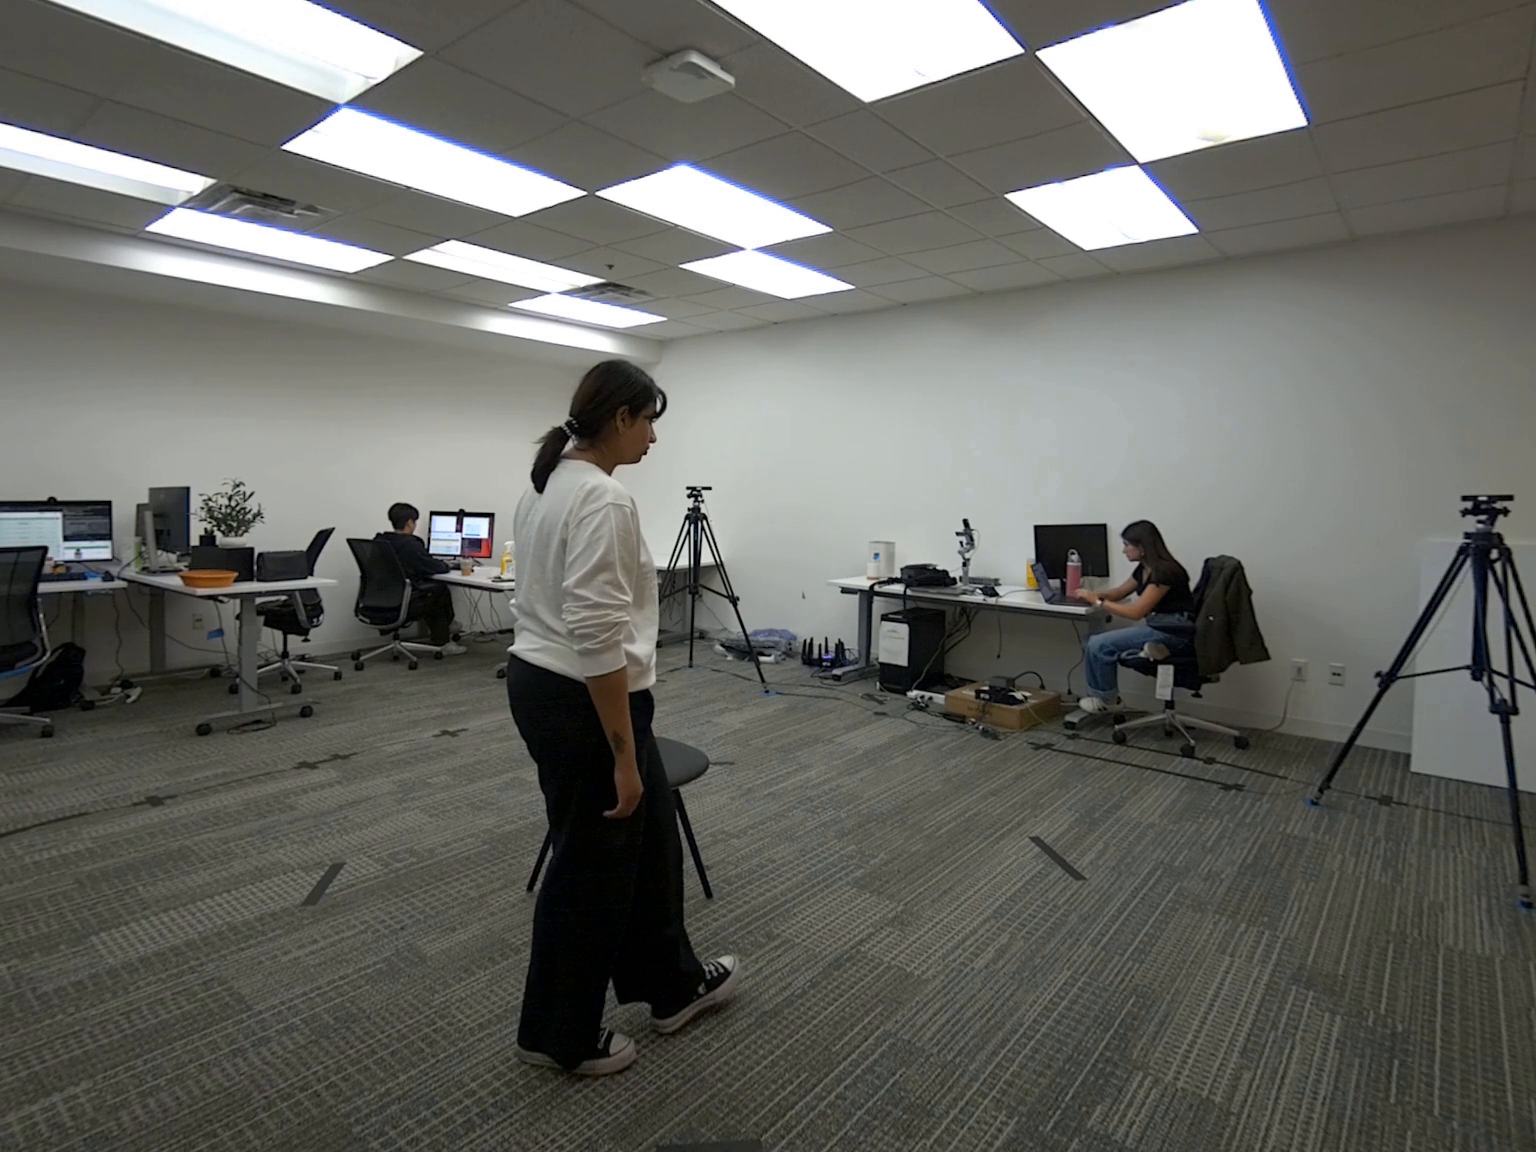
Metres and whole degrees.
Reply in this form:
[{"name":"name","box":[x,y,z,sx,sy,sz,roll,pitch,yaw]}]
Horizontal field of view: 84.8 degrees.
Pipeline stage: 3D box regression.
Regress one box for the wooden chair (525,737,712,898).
[{"name":"wooden chair","box":[-0.485,0.654,2.862,0.463,0.878,0.539,-2,0,-43]}]
